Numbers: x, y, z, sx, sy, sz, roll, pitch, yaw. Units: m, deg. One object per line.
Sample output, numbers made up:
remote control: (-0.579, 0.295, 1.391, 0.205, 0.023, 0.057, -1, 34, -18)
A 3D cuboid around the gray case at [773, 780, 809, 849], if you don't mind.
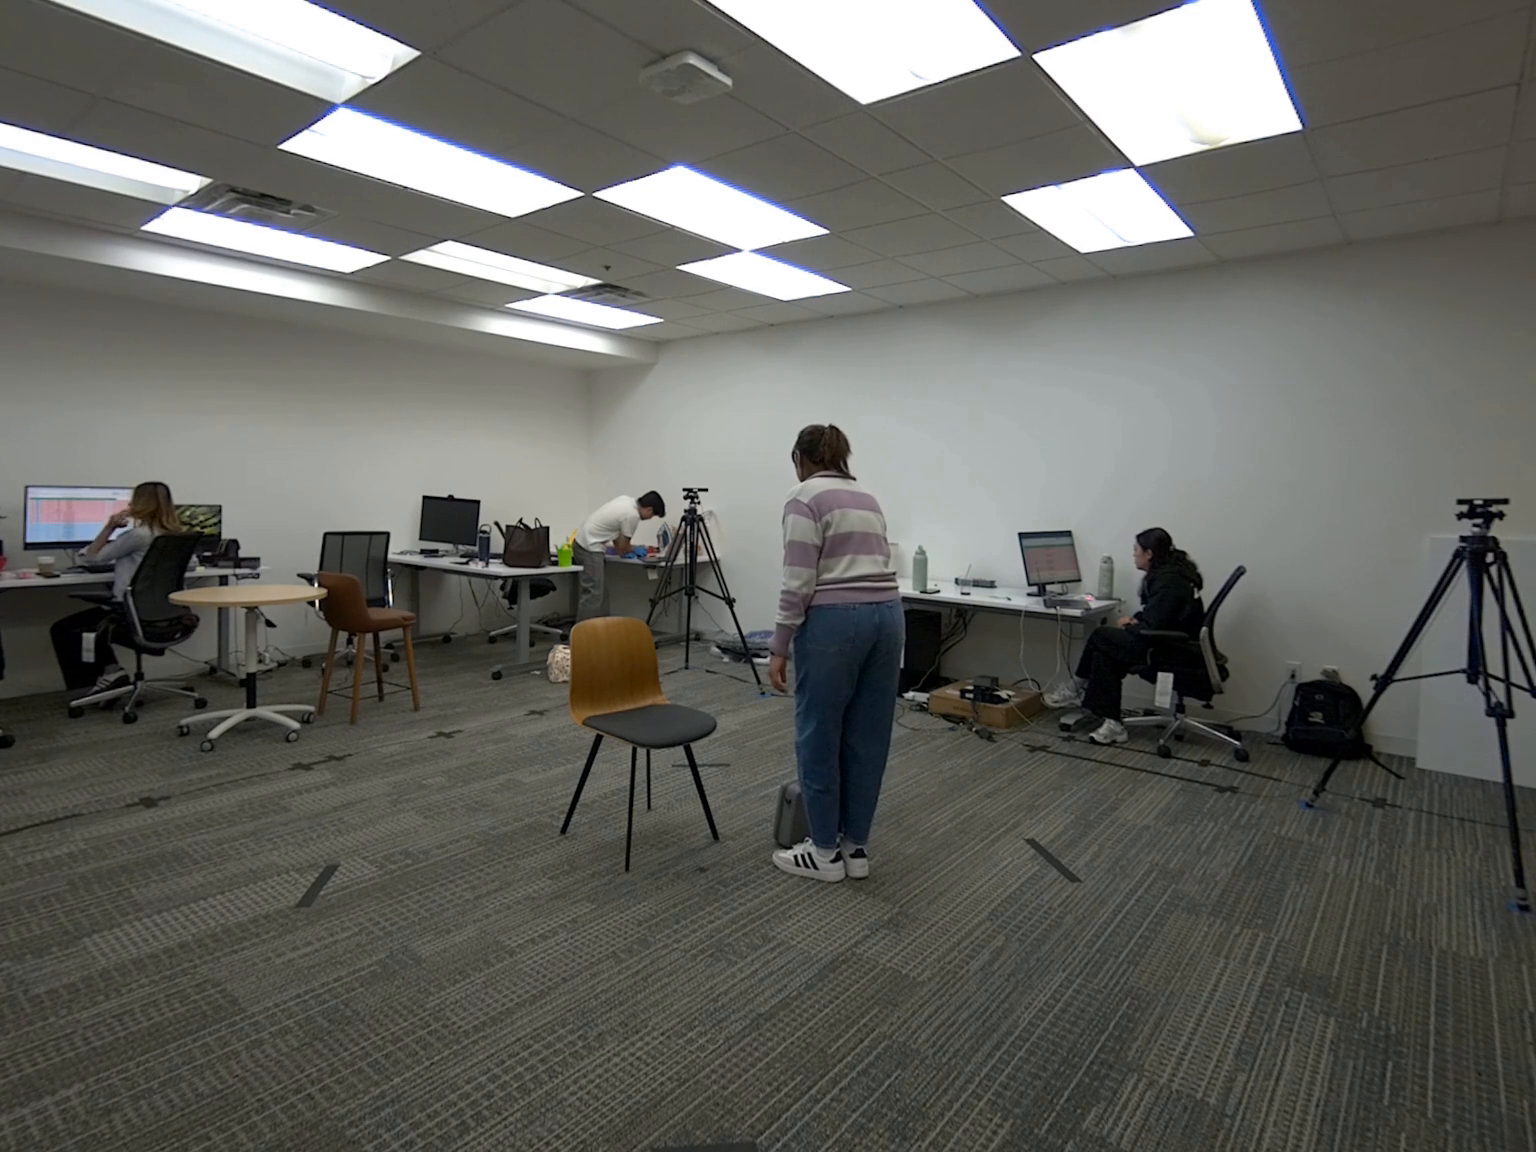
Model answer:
gray case: (0.136, 0.914, 3.382, 0.249, 0.259, 0.108, -2, 11, -38)
